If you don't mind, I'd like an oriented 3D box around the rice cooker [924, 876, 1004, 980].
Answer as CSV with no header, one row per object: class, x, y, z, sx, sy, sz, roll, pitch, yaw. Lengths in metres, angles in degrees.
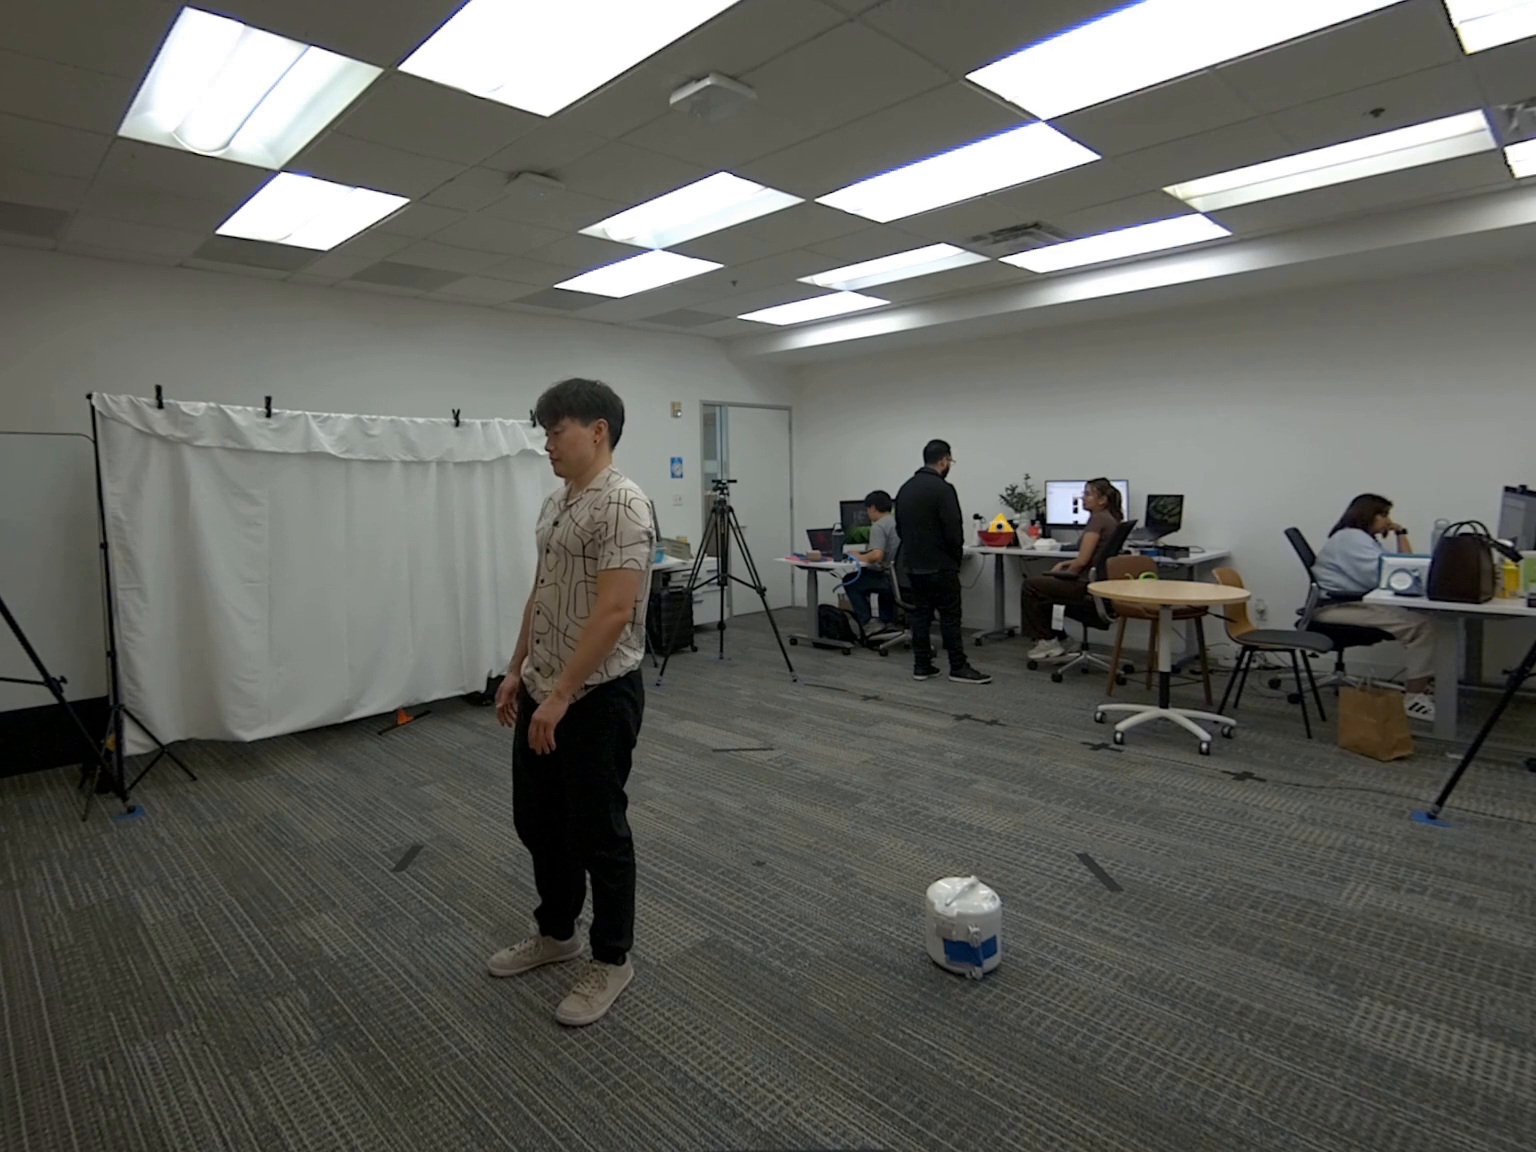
rice cooker,0.565,0.993,2.463,0.224,0.232,0.215,4,6,43
